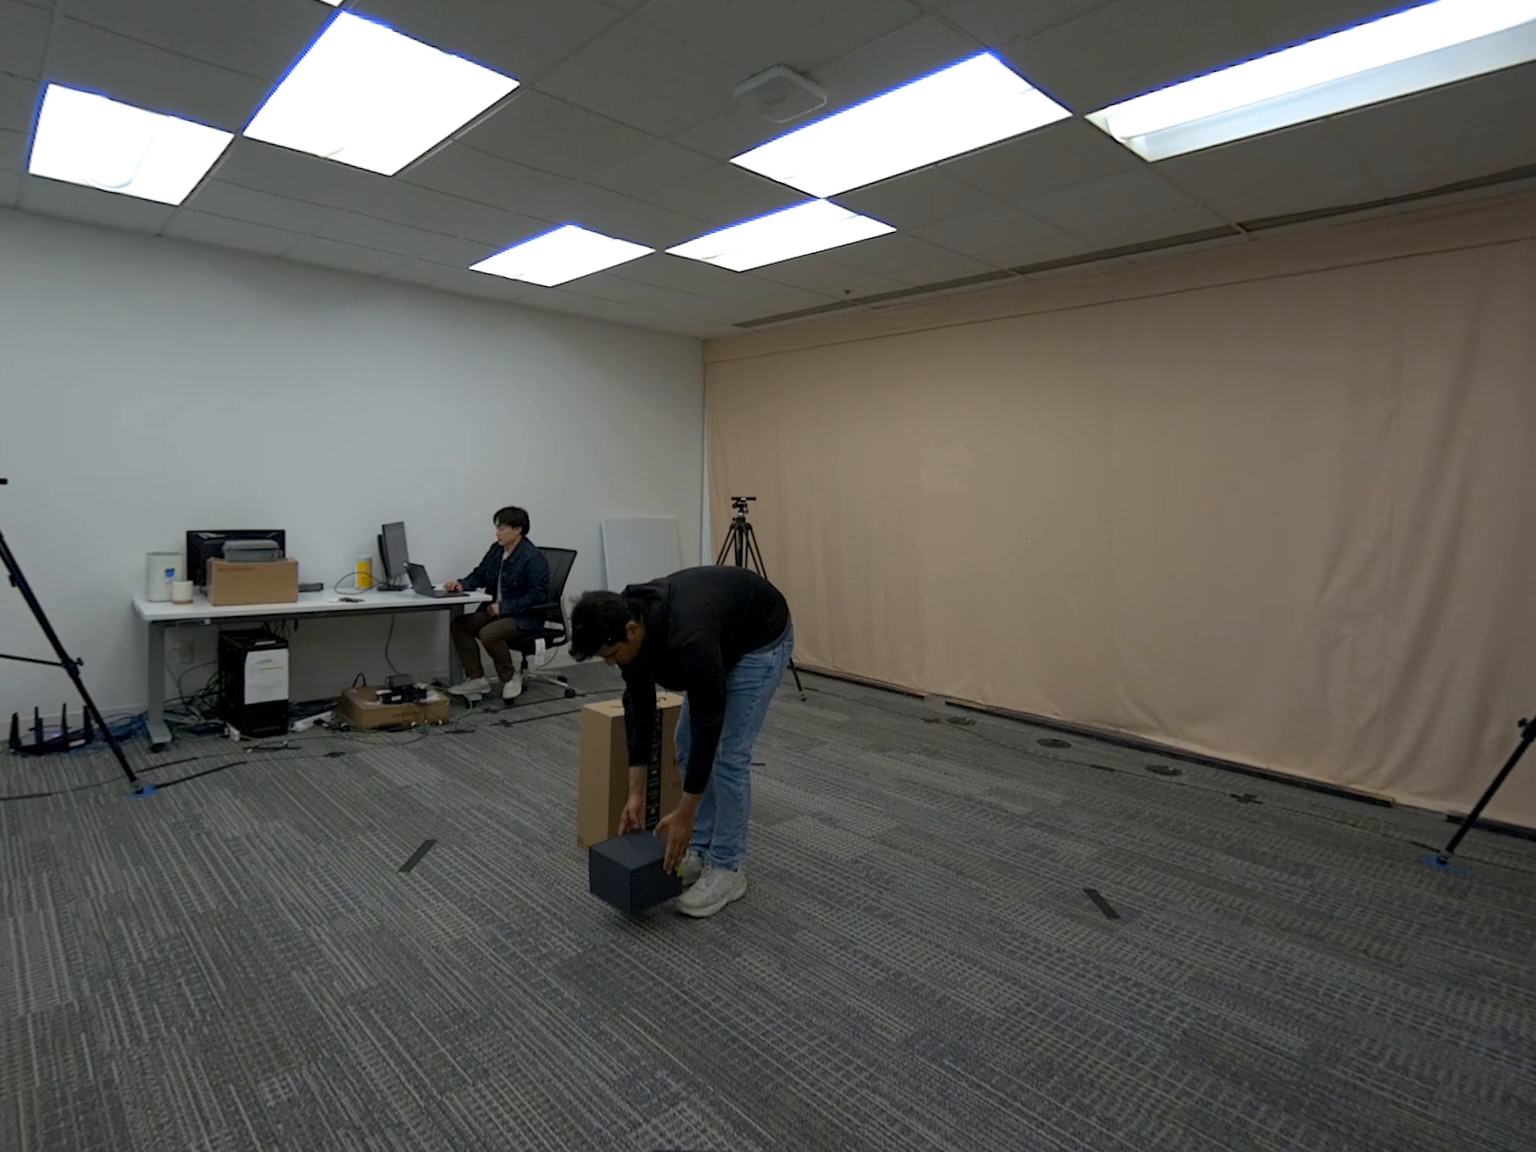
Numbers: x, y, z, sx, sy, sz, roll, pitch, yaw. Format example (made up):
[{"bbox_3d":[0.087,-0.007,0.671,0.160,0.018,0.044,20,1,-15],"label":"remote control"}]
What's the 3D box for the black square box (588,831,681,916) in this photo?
[{"bbox_3d":[-0.441,0.949,2.749,0.234,0.155,0.212,6,8,44],"label":"black square box"}]
